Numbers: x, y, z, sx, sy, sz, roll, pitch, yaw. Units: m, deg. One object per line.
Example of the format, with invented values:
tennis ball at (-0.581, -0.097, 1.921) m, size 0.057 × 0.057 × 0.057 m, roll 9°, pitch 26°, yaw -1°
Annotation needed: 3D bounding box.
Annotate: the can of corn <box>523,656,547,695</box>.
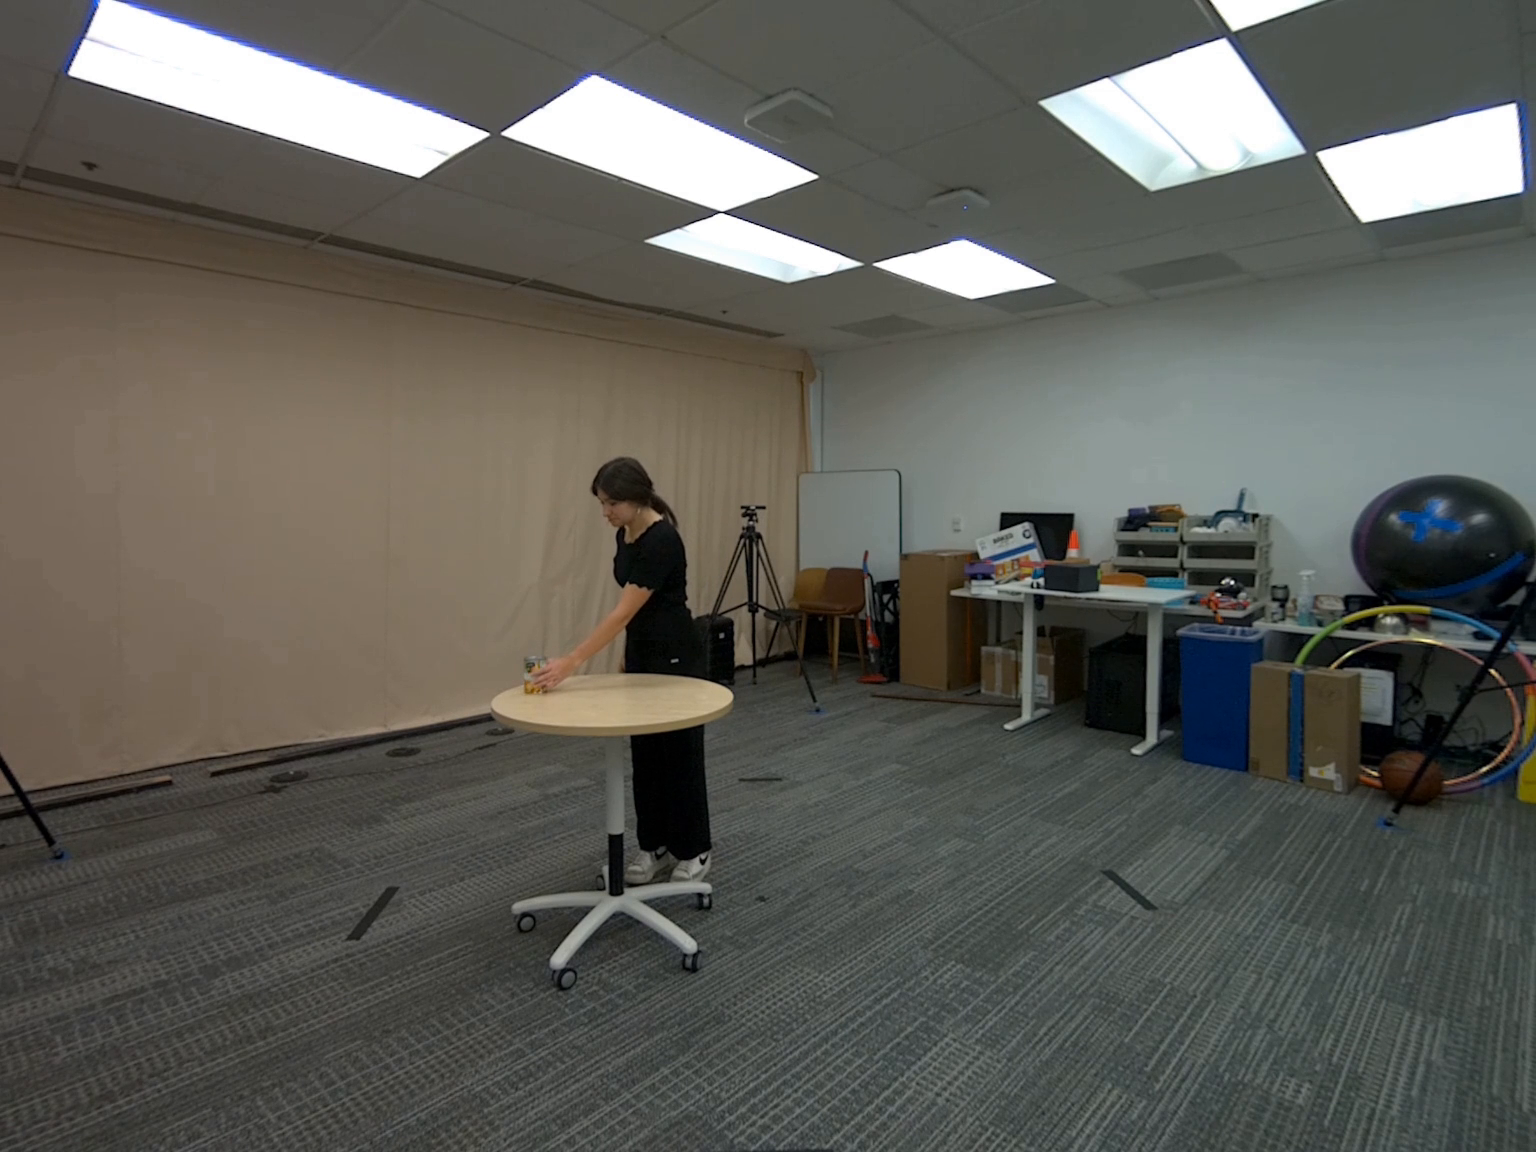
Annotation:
can of corn at (-0.758, 0.320, 2.779) m, size 0.074 × 0.111 × 0.074 m, roll 0°, pitch 4°, yaw -2°
